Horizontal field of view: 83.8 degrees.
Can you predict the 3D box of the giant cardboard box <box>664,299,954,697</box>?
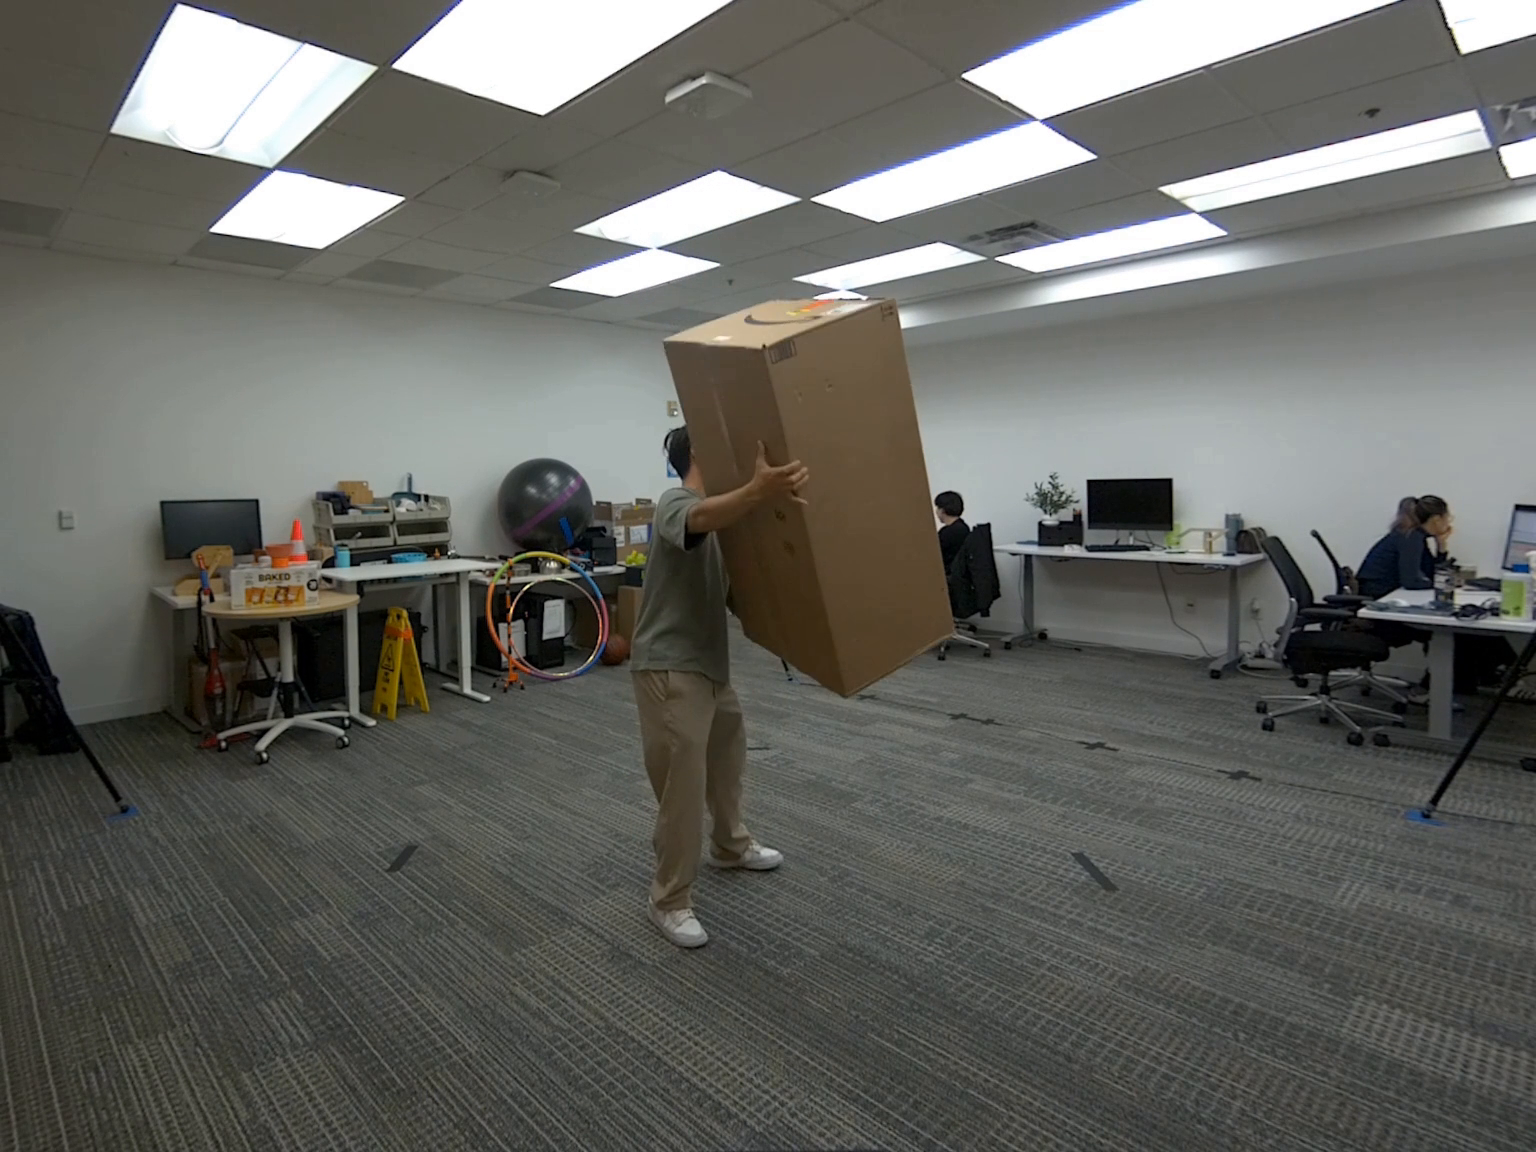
[{"bbox_3d":[0.137,-0.259,2.538,0.422,1.002,0.597,-26,24,-23],"label":"giant cardboard box"}]
